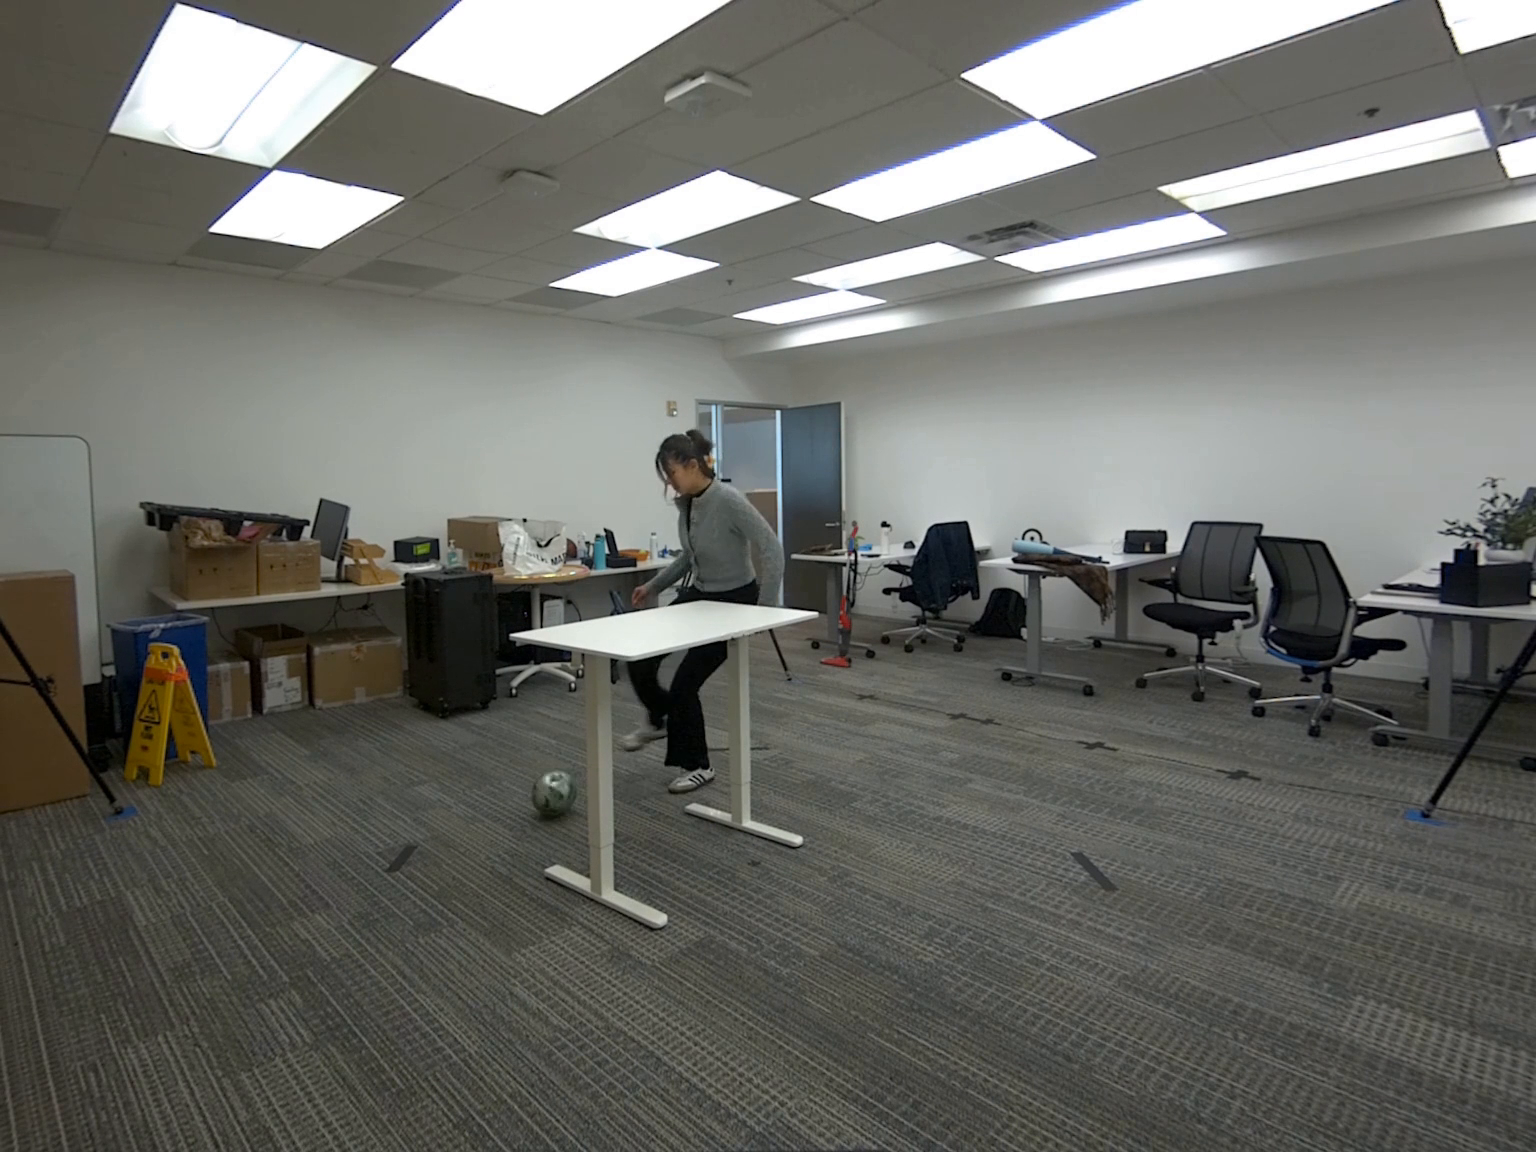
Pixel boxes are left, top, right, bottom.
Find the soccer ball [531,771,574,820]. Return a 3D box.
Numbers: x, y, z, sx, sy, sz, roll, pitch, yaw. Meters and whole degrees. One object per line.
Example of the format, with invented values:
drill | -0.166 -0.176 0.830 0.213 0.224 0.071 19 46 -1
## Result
soccer ball | -0.892 0.914 3.586 0.187 0.187 0.188 -1 5 -2
